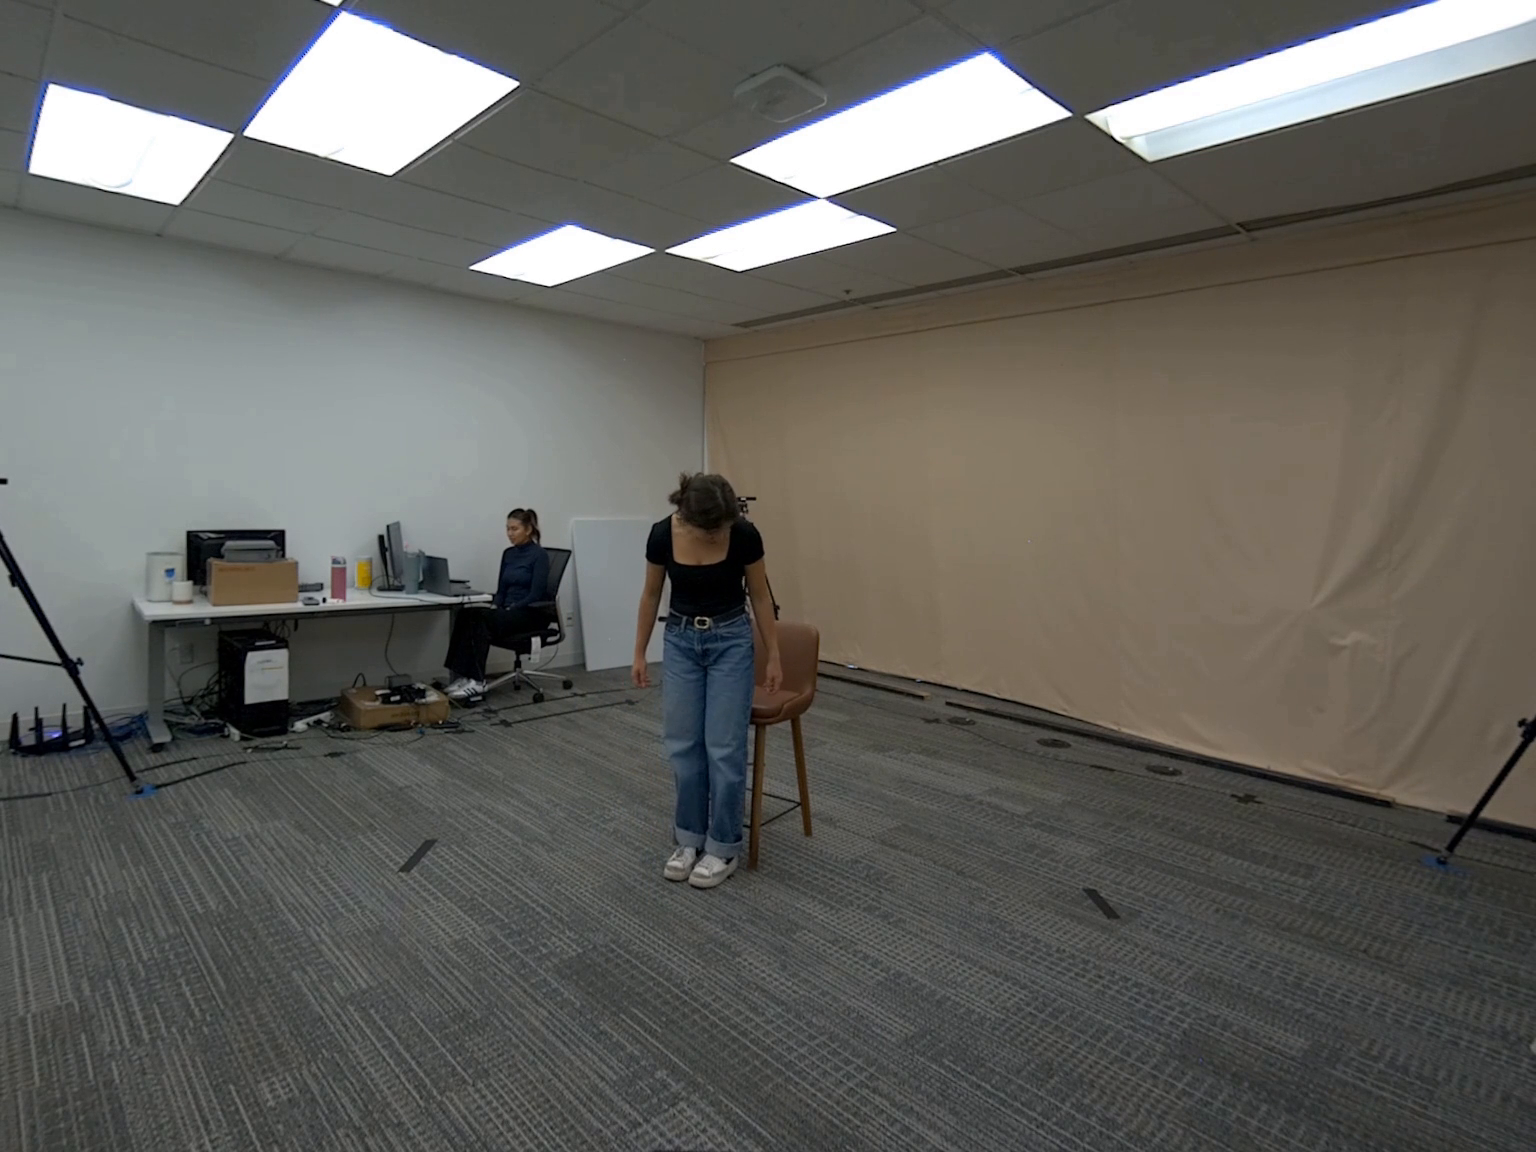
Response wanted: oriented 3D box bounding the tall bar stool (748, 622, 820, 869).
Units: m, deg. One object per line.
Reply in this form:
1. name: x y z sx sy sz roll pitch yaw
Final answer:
1. tall bar stool: -0.080 0.648 3.429 0.467 0.889 0.457 4 2 36
